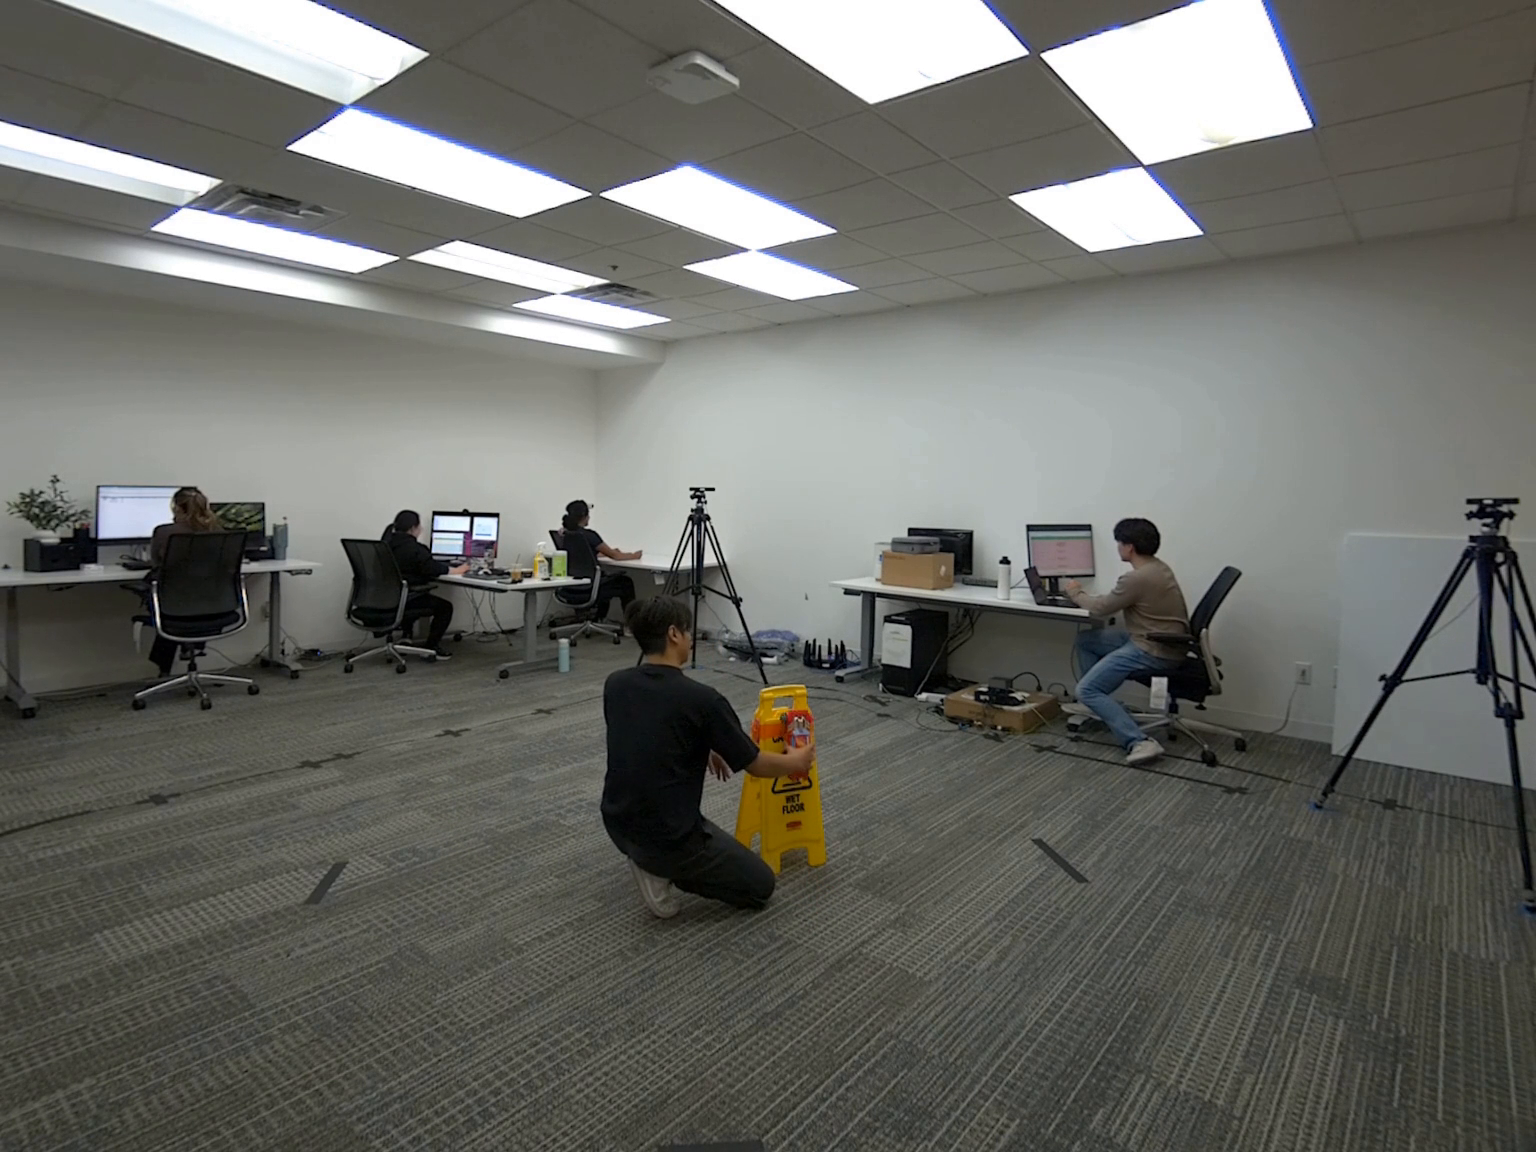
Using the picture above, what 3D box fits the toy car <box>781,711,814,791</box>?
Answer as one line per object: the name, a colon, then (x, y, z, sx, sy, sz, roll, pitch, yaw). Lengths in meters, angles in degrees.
toy car: (0.087, 0.637, 3.123, 0.126, 0.258, 0.084, 4, -16, -31)
